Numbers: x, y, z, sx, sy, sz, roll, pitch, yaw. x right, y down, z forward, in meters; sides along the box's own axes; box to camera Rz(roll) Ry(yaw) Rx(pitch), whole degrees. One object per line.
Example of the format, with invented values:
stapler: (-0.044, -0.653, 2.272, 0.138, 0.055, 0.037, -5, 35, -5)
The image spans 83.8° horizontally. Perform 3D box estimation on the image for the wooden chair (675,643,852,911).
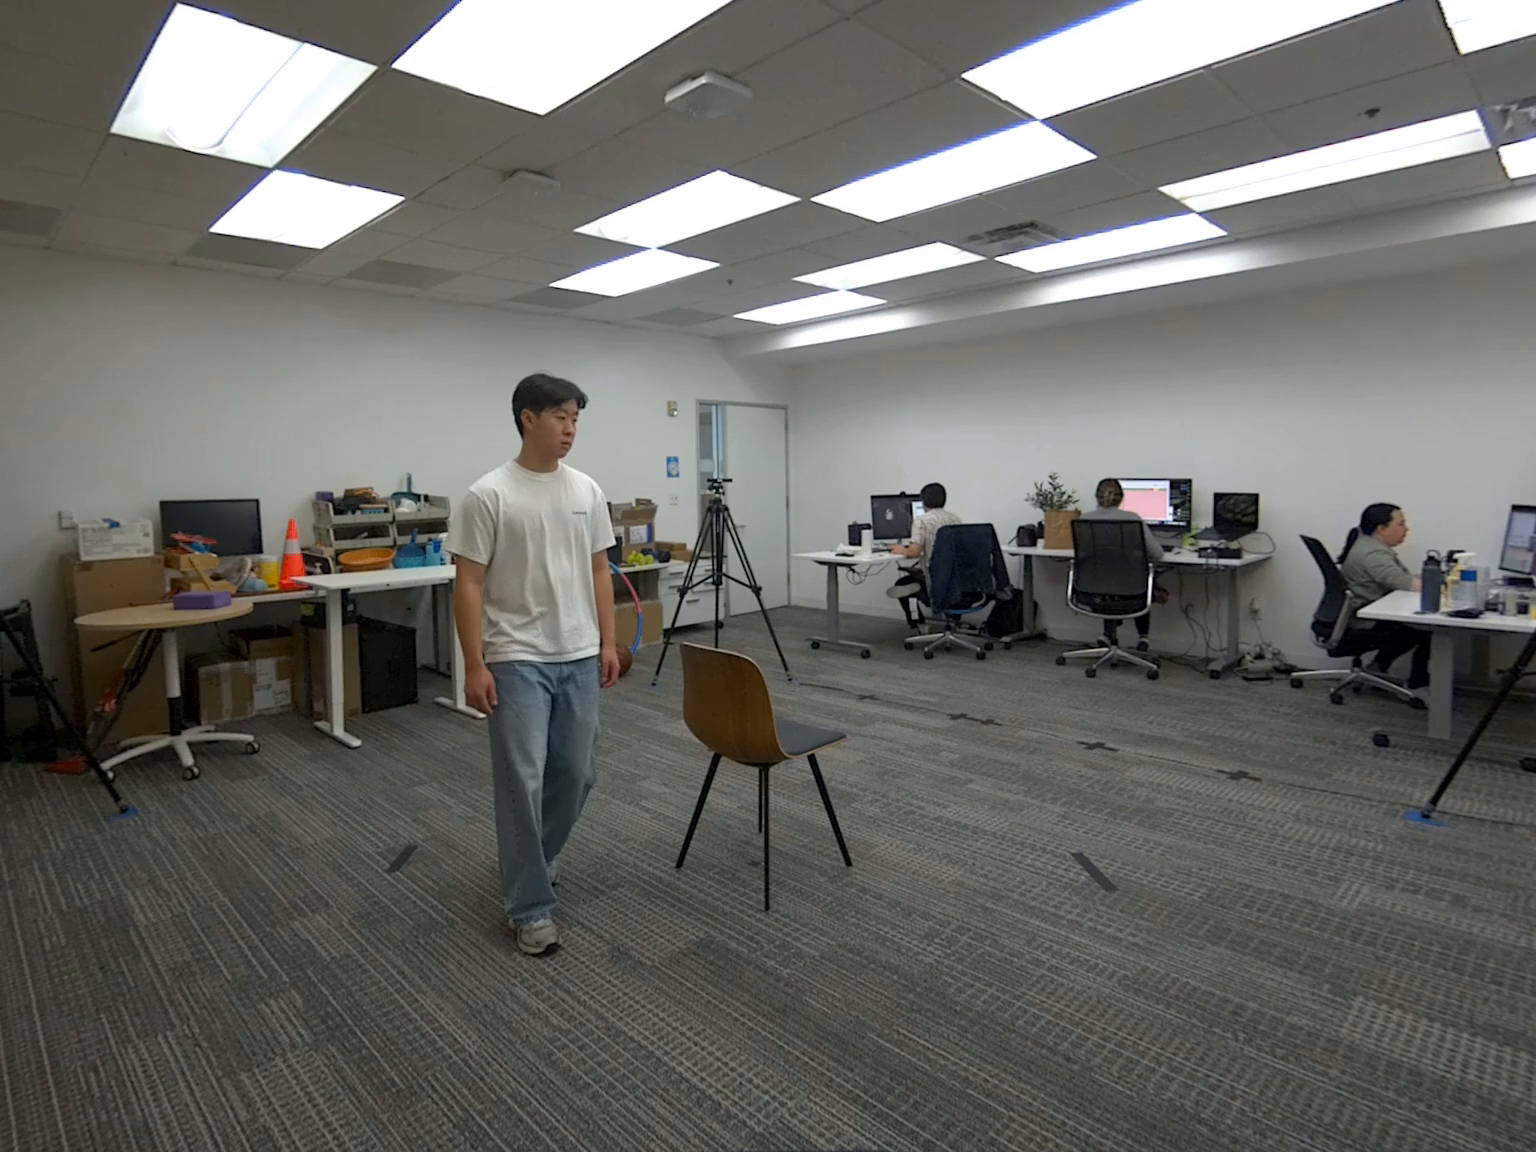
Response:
wooden chair: (-0.014, 0.624, 3.051, 0.493, 0.871, 0.511, 4, 10, 44)
